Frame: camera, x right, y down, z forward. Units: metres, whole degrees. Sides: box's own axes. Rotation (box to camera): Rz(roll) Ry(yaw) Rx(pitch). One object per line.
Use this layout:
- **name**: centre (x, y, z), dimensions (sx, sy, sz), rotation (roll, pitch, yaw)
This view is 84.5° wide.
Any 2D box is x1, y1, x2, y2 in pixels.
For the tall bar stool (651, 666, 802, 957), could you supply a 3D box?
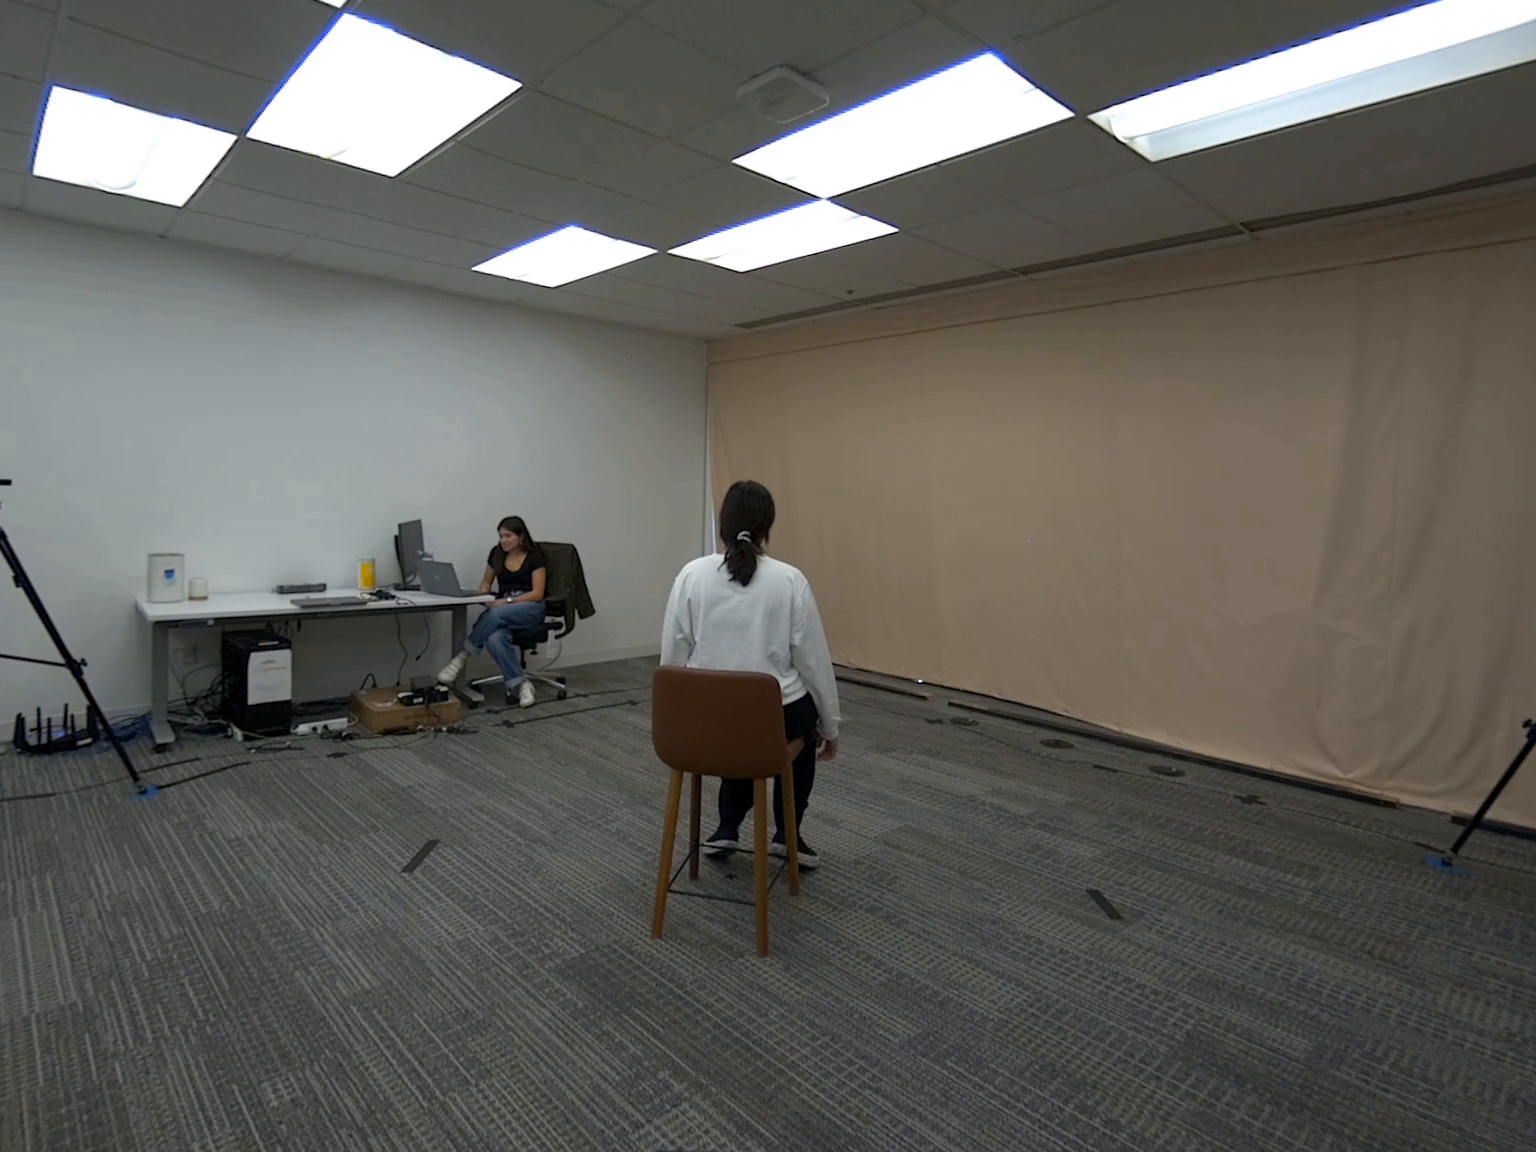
- **tall bar stool**: centre (-0.140, 0.706, 2.789), dimensions (0.462, 0.886, 0.463), rotation (3, 5, 15)
